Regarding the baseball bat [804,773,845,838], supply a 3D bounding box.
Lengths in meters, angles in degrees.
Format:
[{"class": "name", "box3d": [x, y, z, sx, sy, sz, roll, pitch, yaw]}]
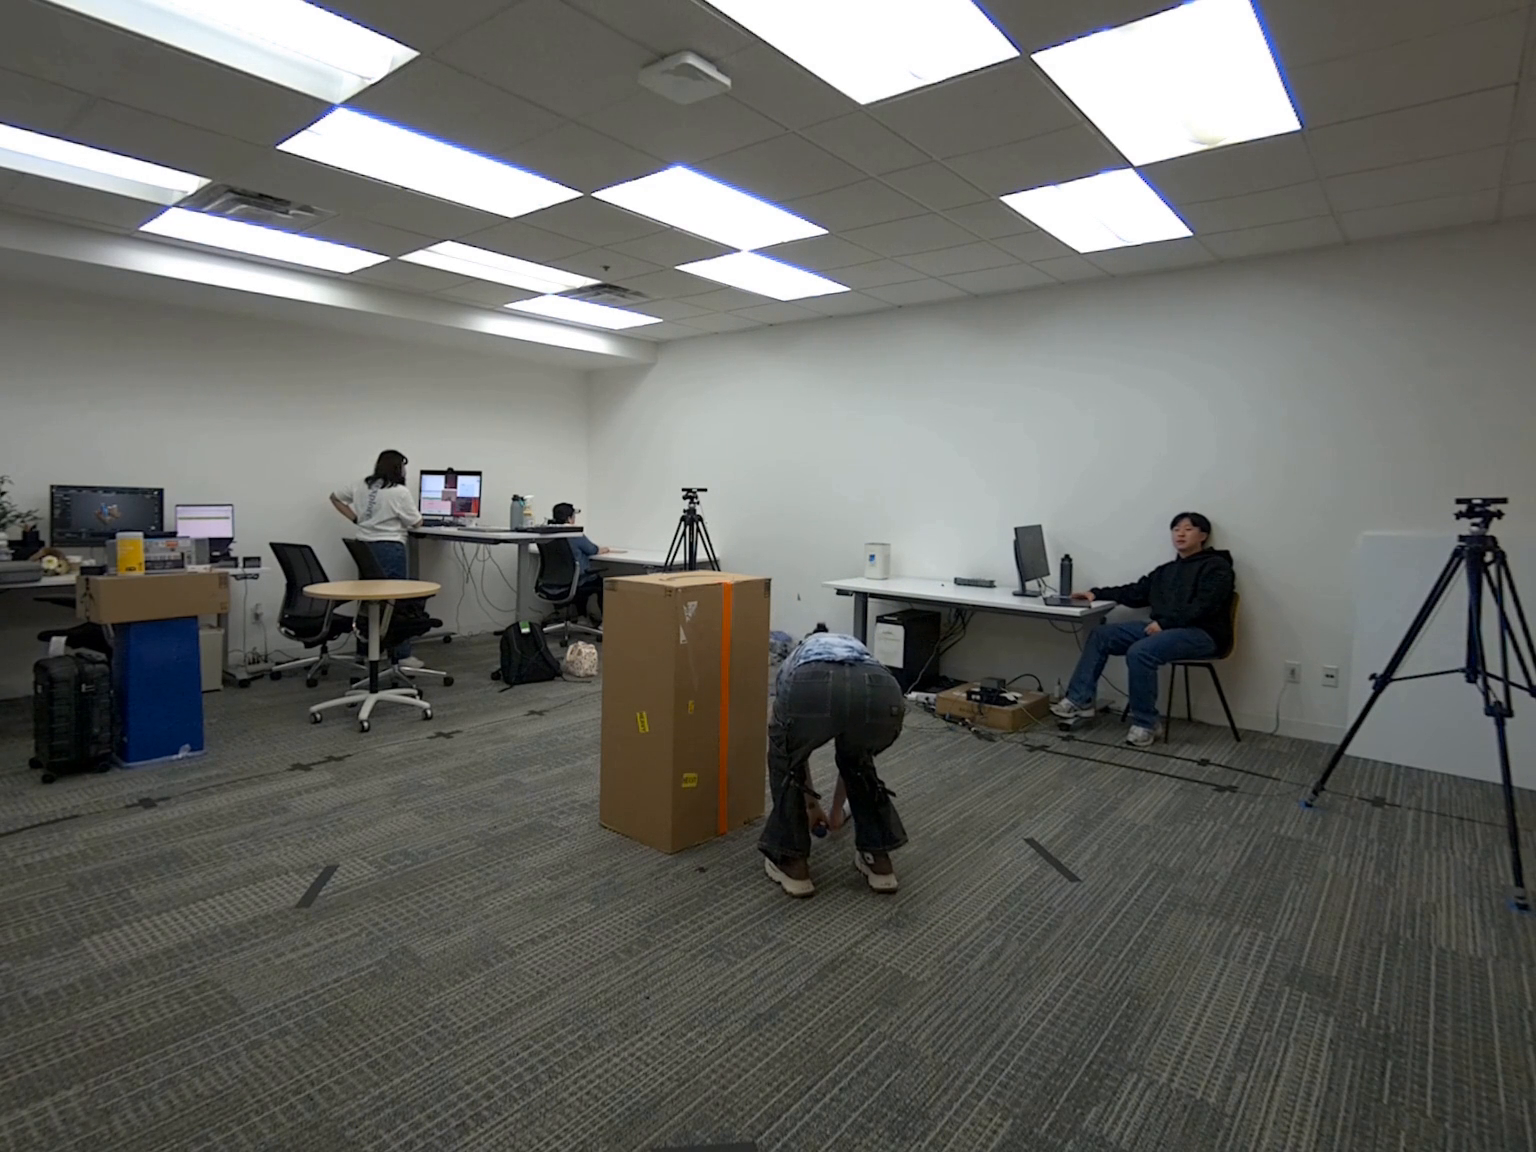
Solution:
[{"class": "baseball bat", "box3d": [0.267, 0.980, 3.515, 0.091, 0.089, 0.532, 2, 2, 19]}]
